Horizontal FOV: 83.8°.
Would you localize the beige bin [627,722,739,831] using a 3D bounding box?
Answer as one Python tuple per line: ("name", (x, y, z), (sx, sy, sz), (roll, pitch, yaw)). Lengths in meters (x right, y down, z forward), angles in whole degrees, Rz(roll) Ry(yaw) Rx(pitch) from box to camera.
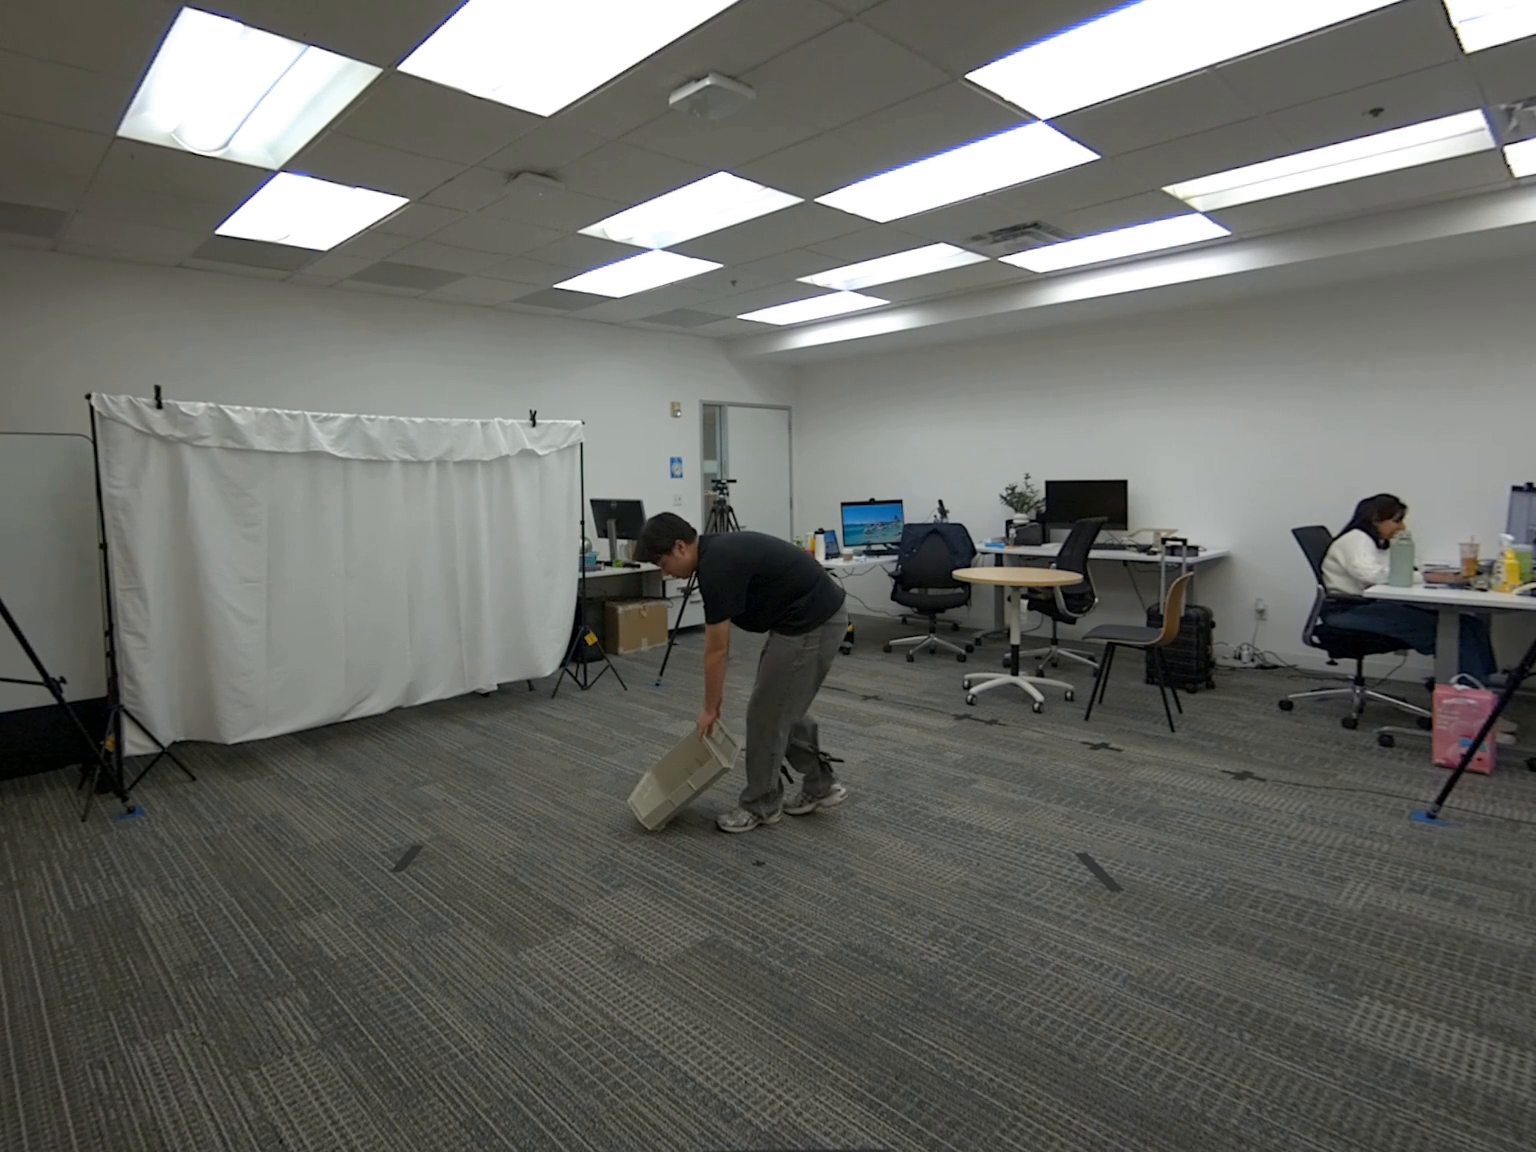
("beige bin", (-0.332, 0.806, 3.503), (0.422, 0.190, 0.376), (-42, -1, 10))
